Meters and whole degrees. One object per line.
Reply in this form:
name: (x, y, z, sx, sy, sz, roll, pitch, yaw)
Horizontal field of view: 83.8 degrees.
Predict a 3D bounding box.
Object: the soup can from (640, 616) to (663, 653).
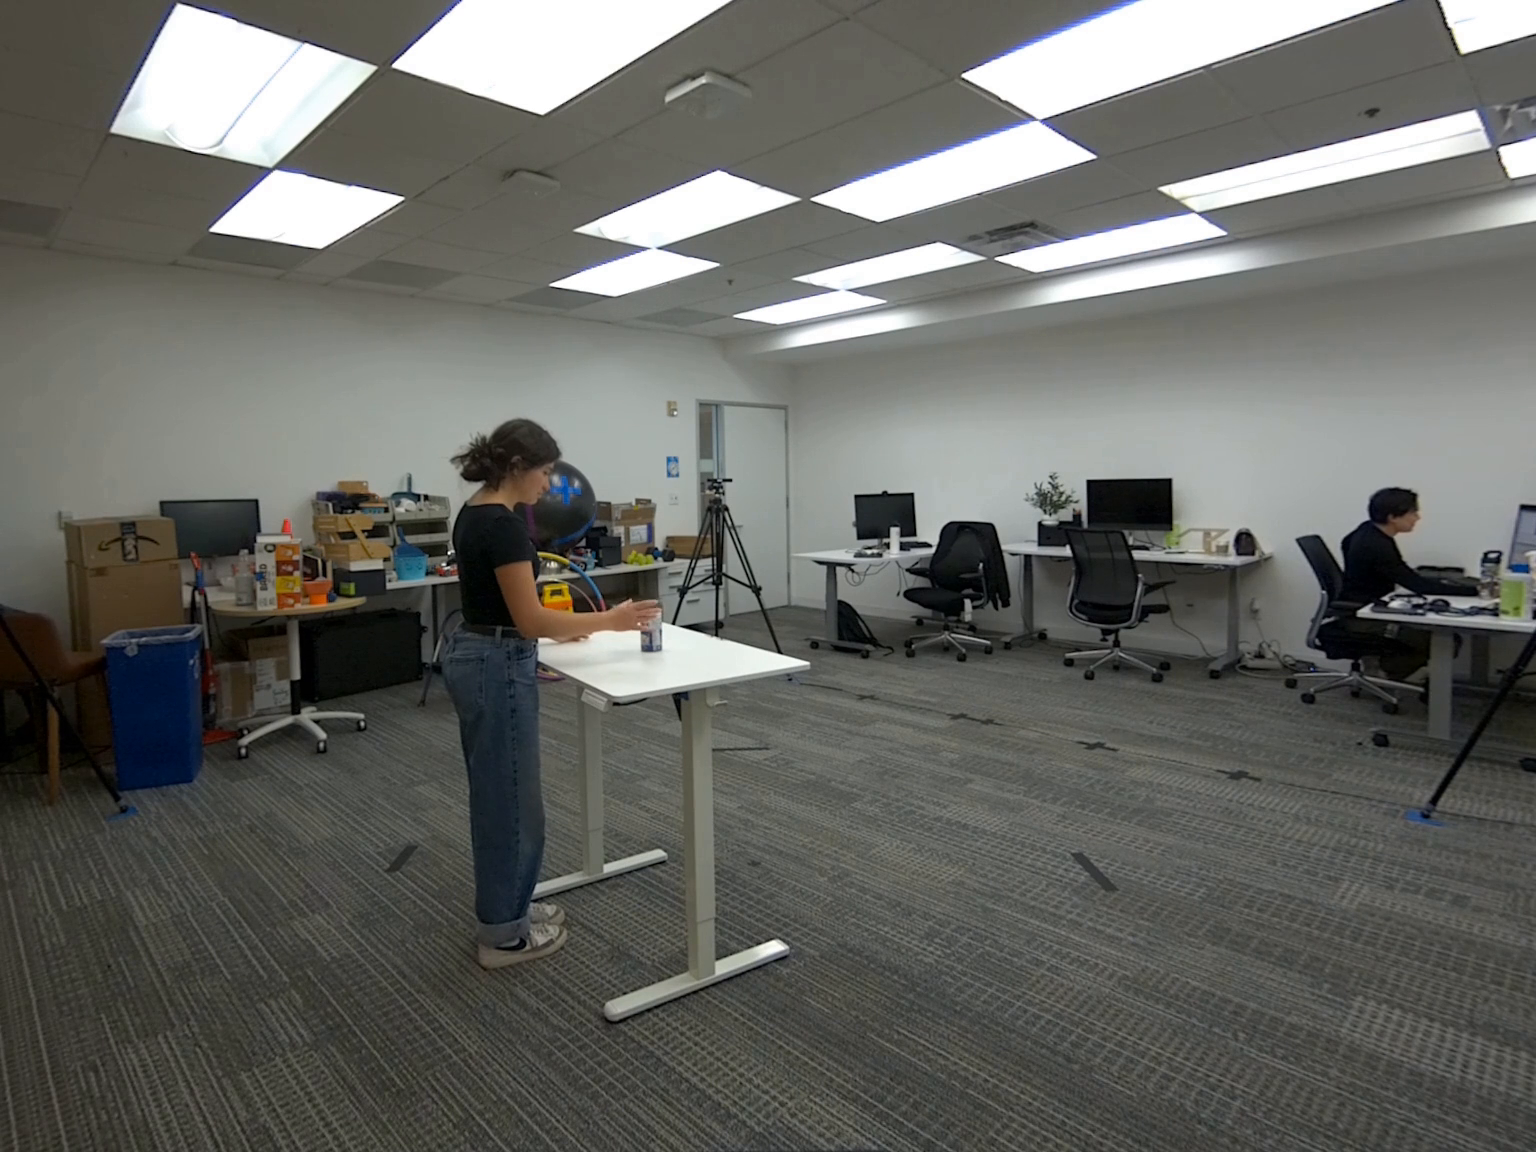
soup can: (-0.357, 0.169, 2.597, 0.067, 0.121, 0.067, -1, 5, -2)
